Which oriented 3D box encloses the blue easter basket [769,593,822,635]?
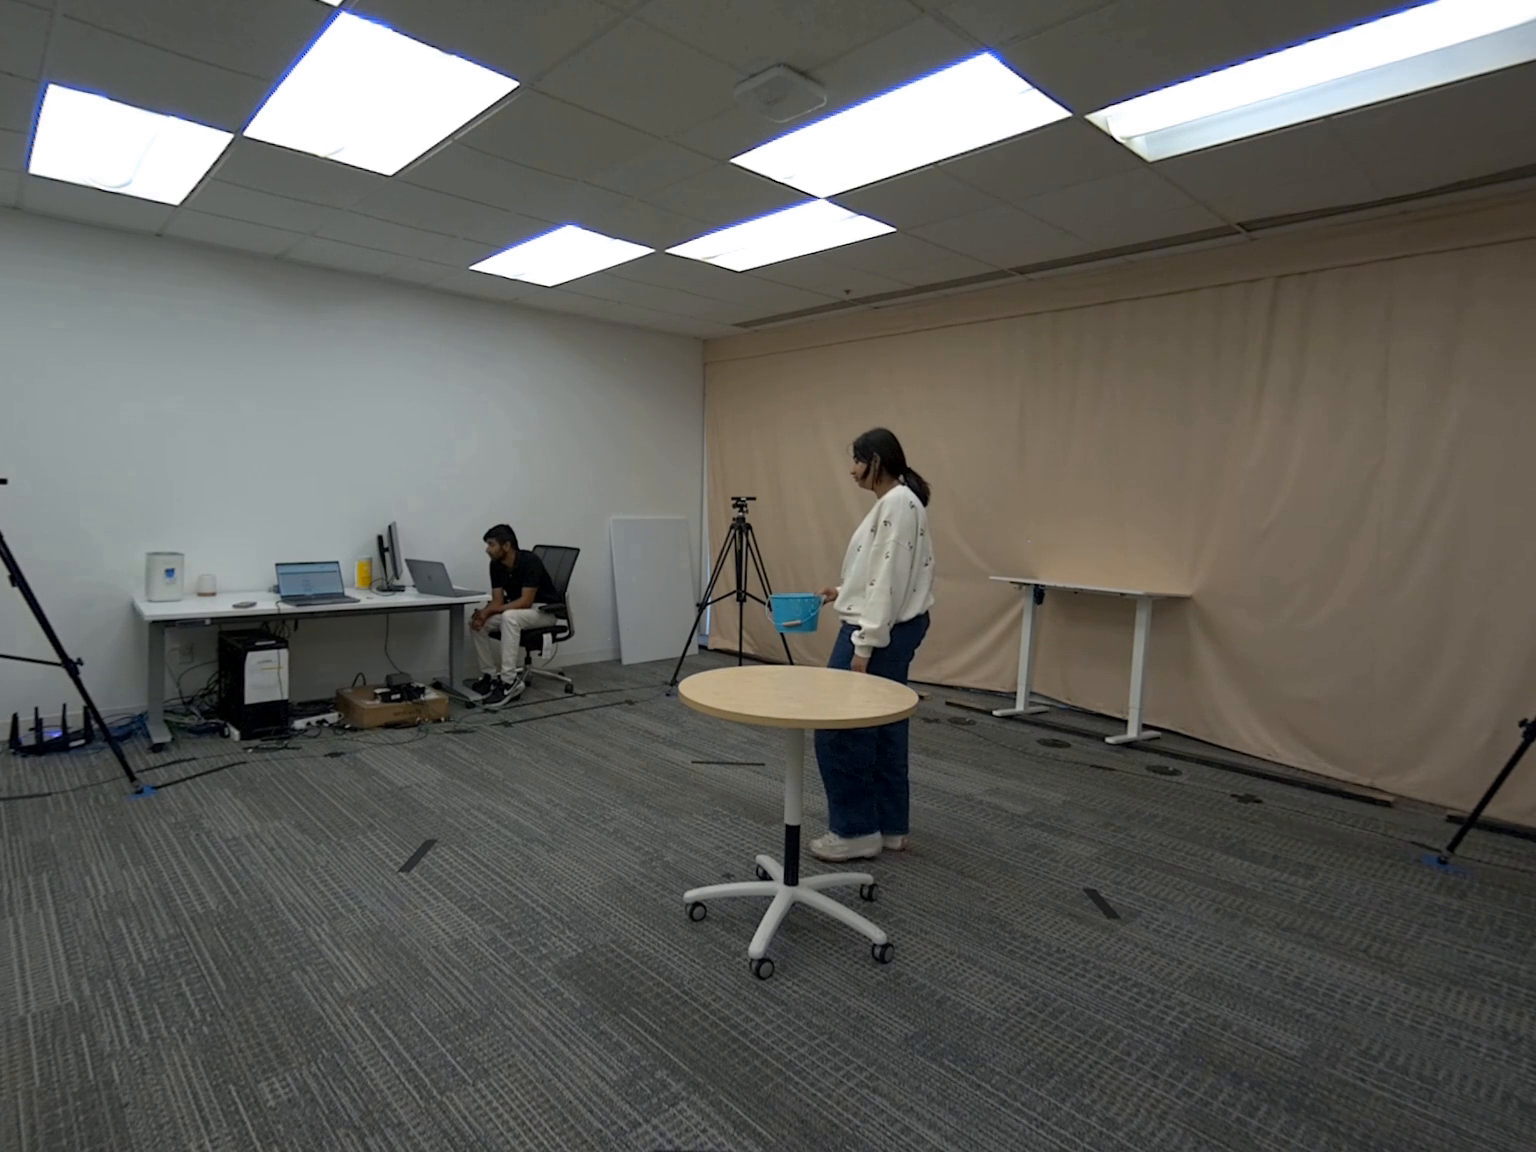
[{"bbox_3d":[0.120,0.160,3.612,0.243,0.156,0.244,0,1,-1],"label":"blue easter basket"}]
